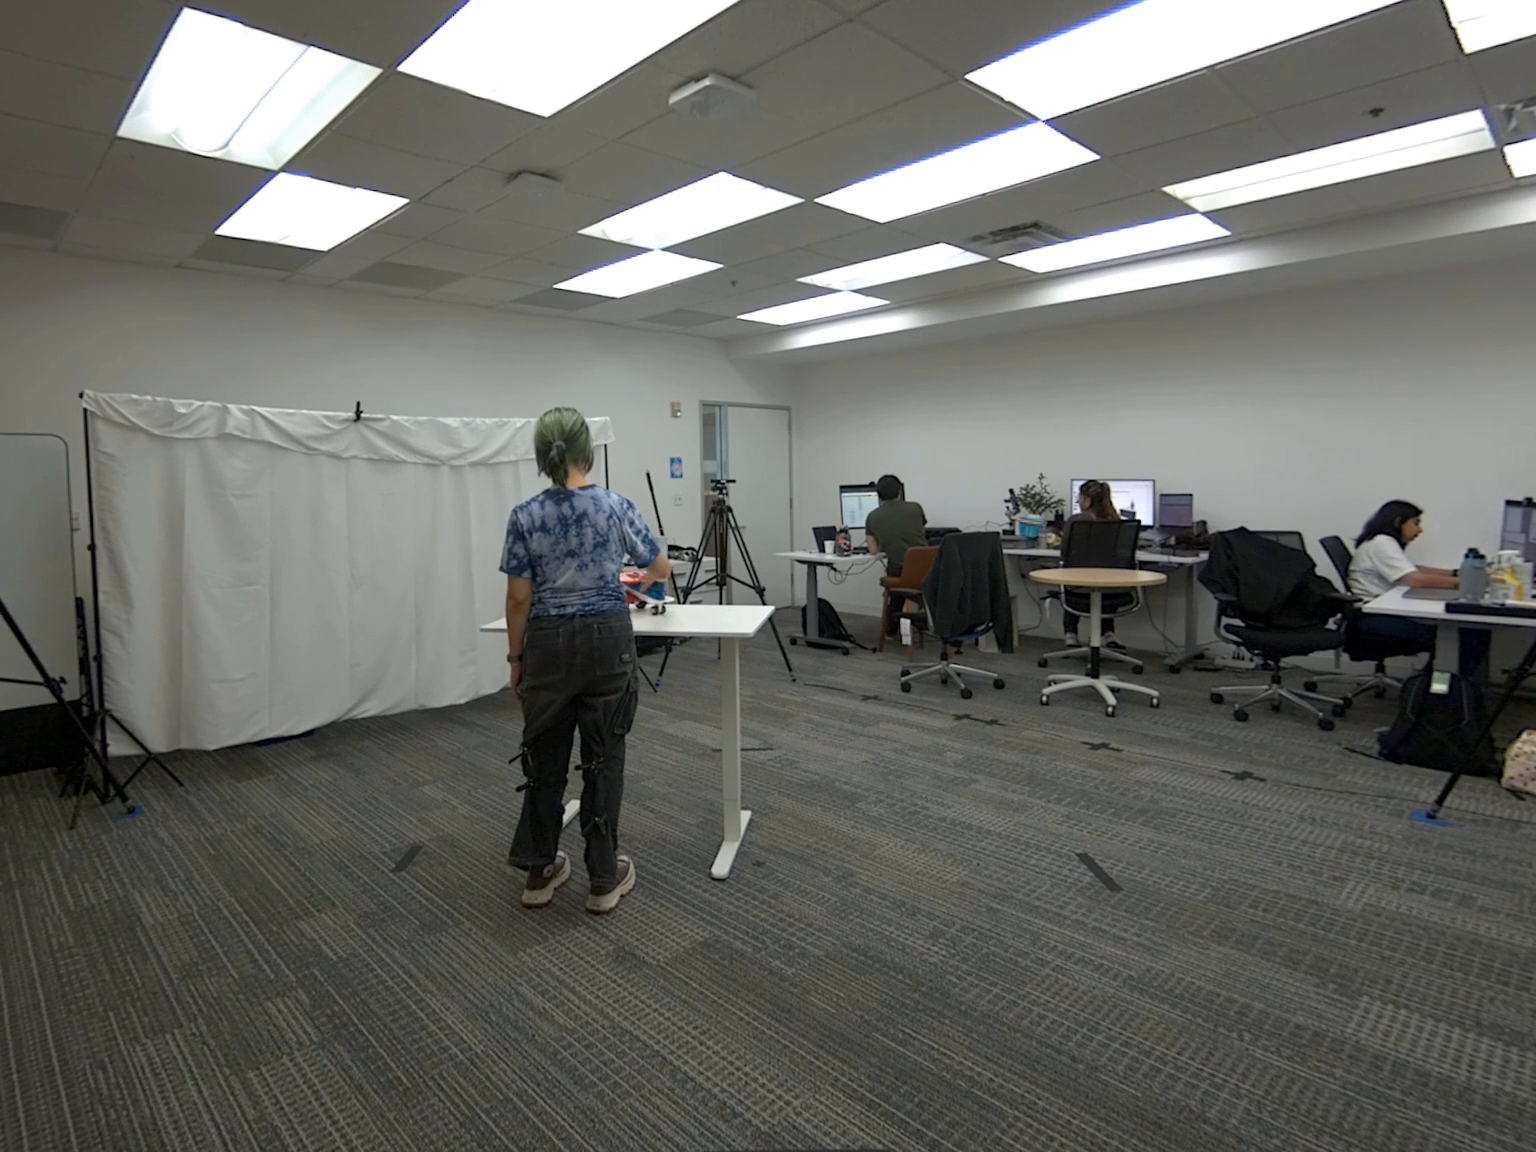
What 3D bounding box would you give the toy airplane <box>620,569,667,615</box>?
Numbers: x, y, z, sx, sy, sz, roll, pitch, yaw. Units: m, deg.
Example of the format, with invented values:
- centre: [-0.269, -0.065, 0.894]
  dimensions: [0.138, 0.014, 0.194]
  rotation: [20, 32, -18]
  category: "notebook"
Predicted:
- centre: [-0.482, 0.066, 3.403]
  dimensions: [0.264, 0.156, 0.247]
  rotation: [1, 5, 20]
  category: "toy airplane"
